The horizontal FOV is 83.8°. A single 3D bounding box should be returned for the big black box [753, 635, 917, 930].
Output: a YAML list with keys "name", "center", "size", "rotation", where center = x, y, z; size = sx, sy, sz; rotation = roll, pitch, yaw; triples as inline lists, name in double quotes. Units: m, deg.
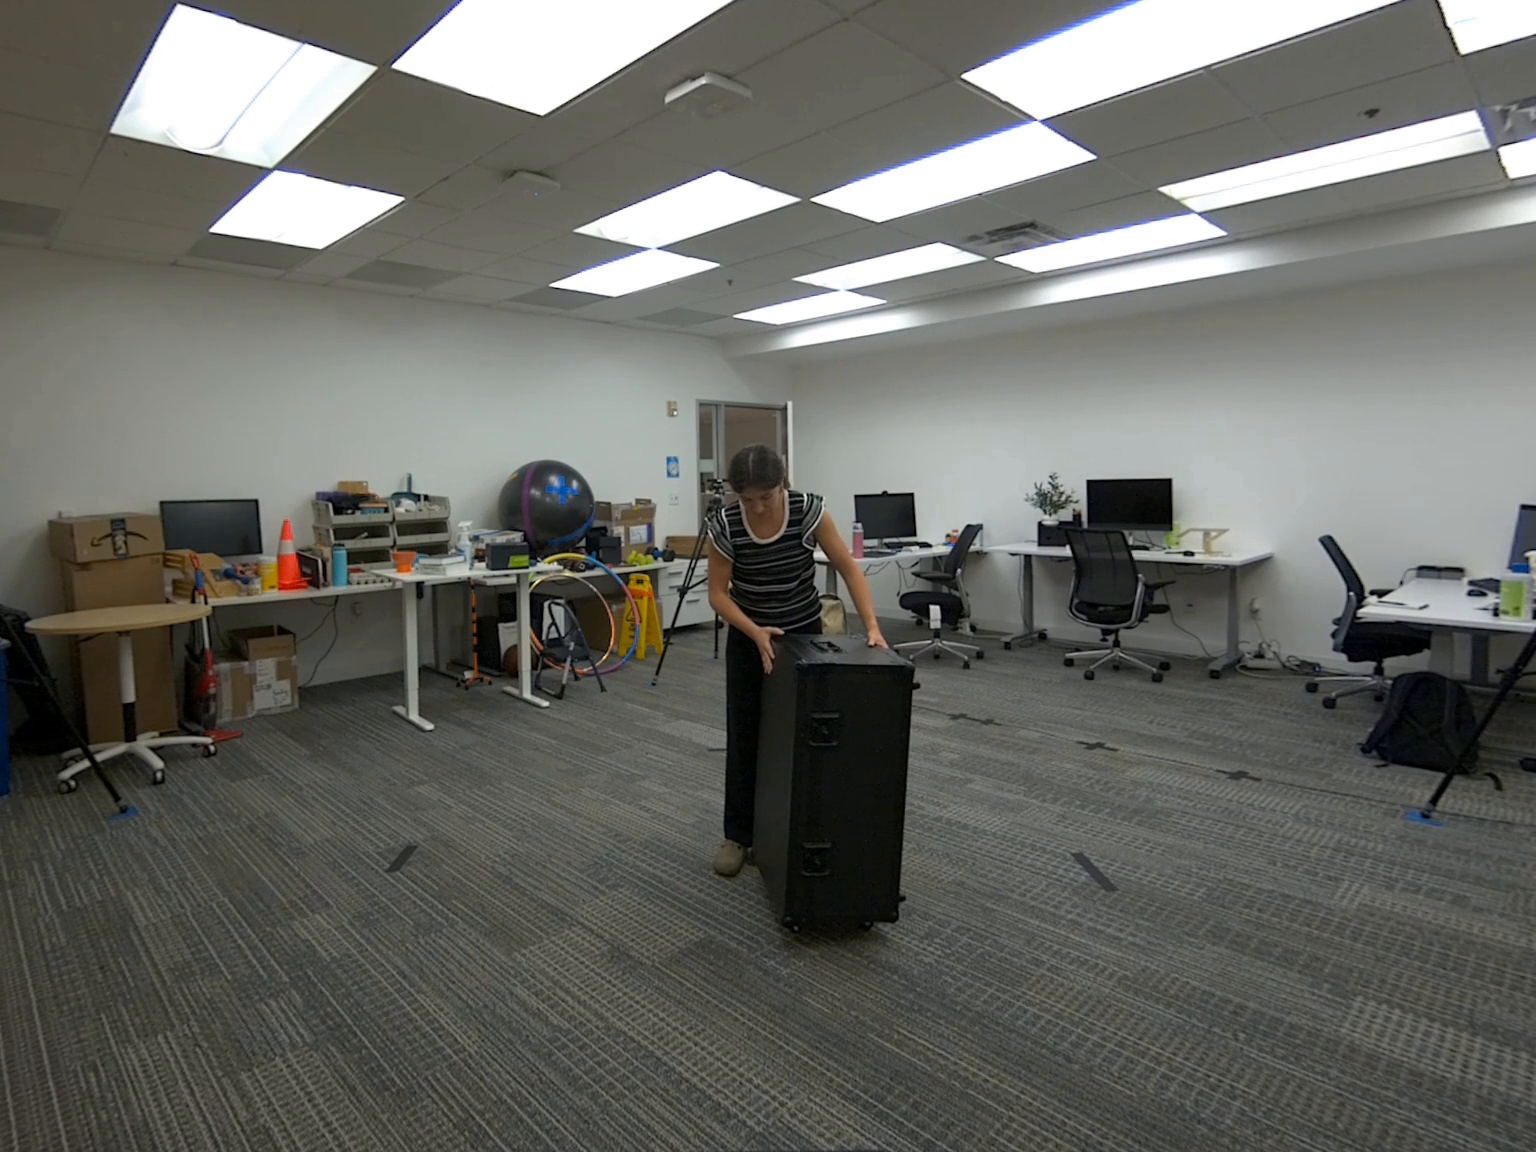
- name: "big black box"
  center: [0.203, 0.654, 2.740]
  size: [0.392, 0.859, 0.528]
  rotation: [4, 4, -10]
